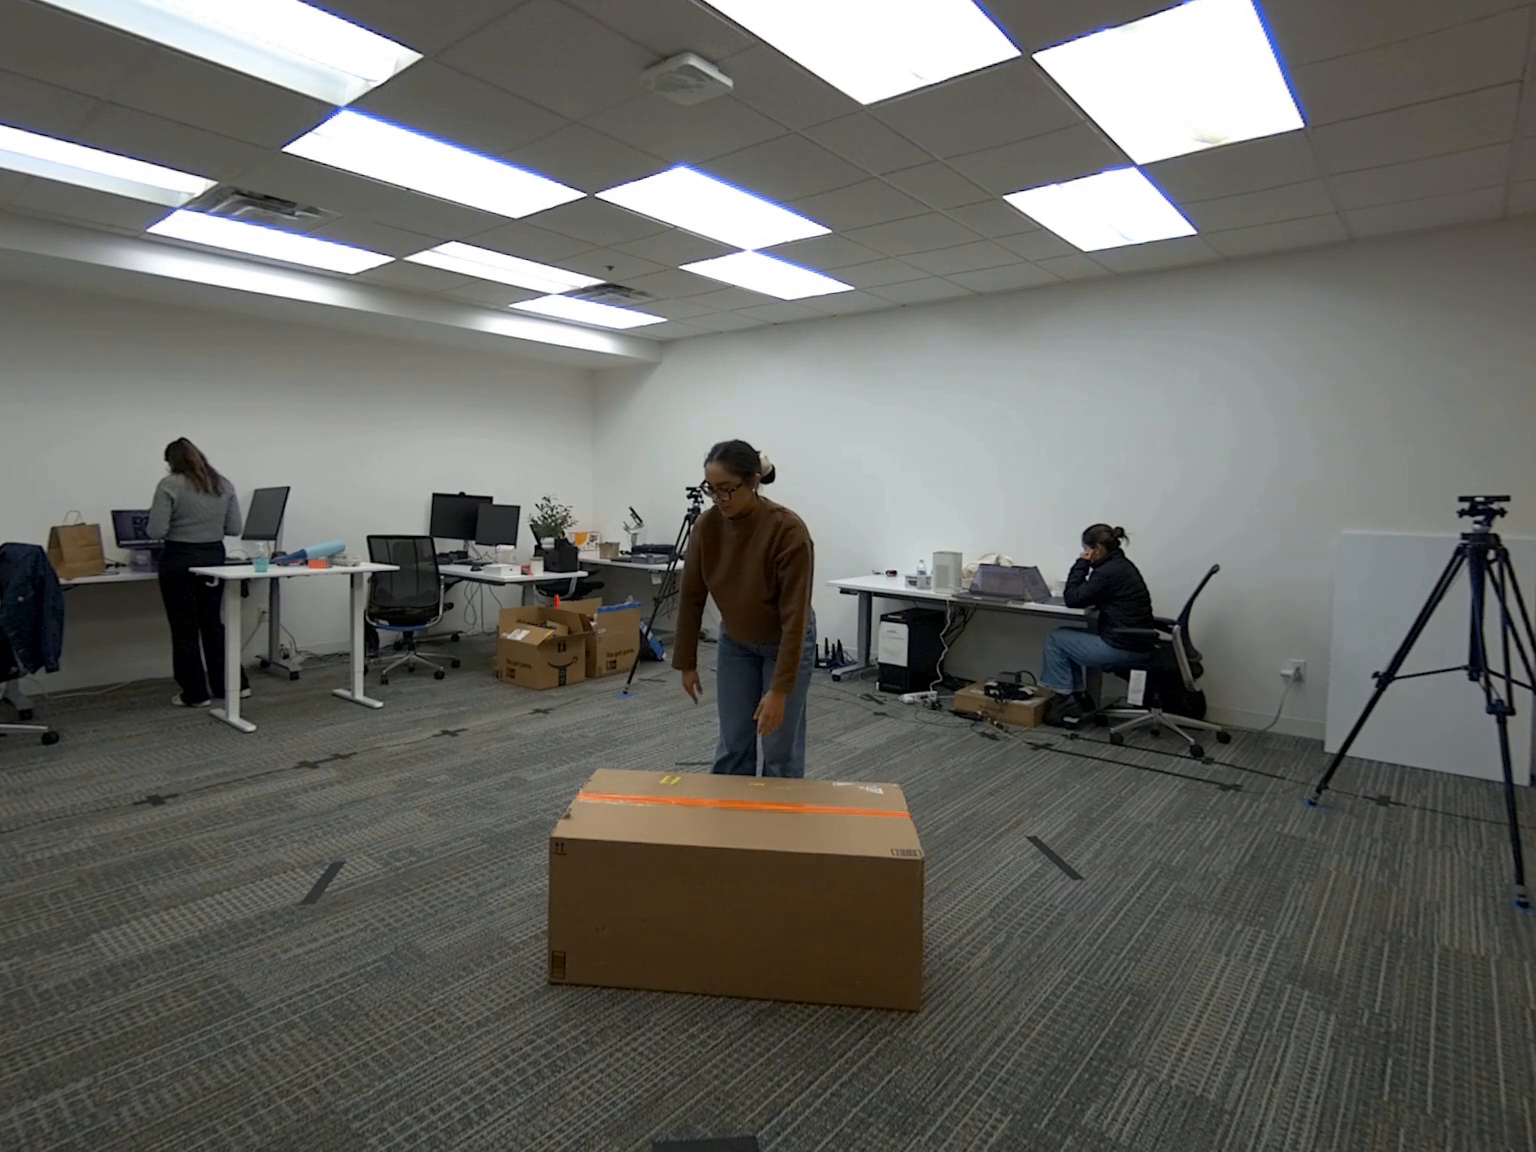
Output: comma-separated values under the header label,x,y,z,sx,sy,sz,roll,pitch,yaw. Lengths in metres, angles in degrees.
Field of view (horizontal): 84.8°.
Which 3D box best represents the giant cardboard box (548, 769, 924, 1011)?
label,x,y,z,sx,sy,sz,roll,pitch,yaw
giant cardboard box,-0.094,0.905,2.583,1.031,0.425,0.576,1,4,4
